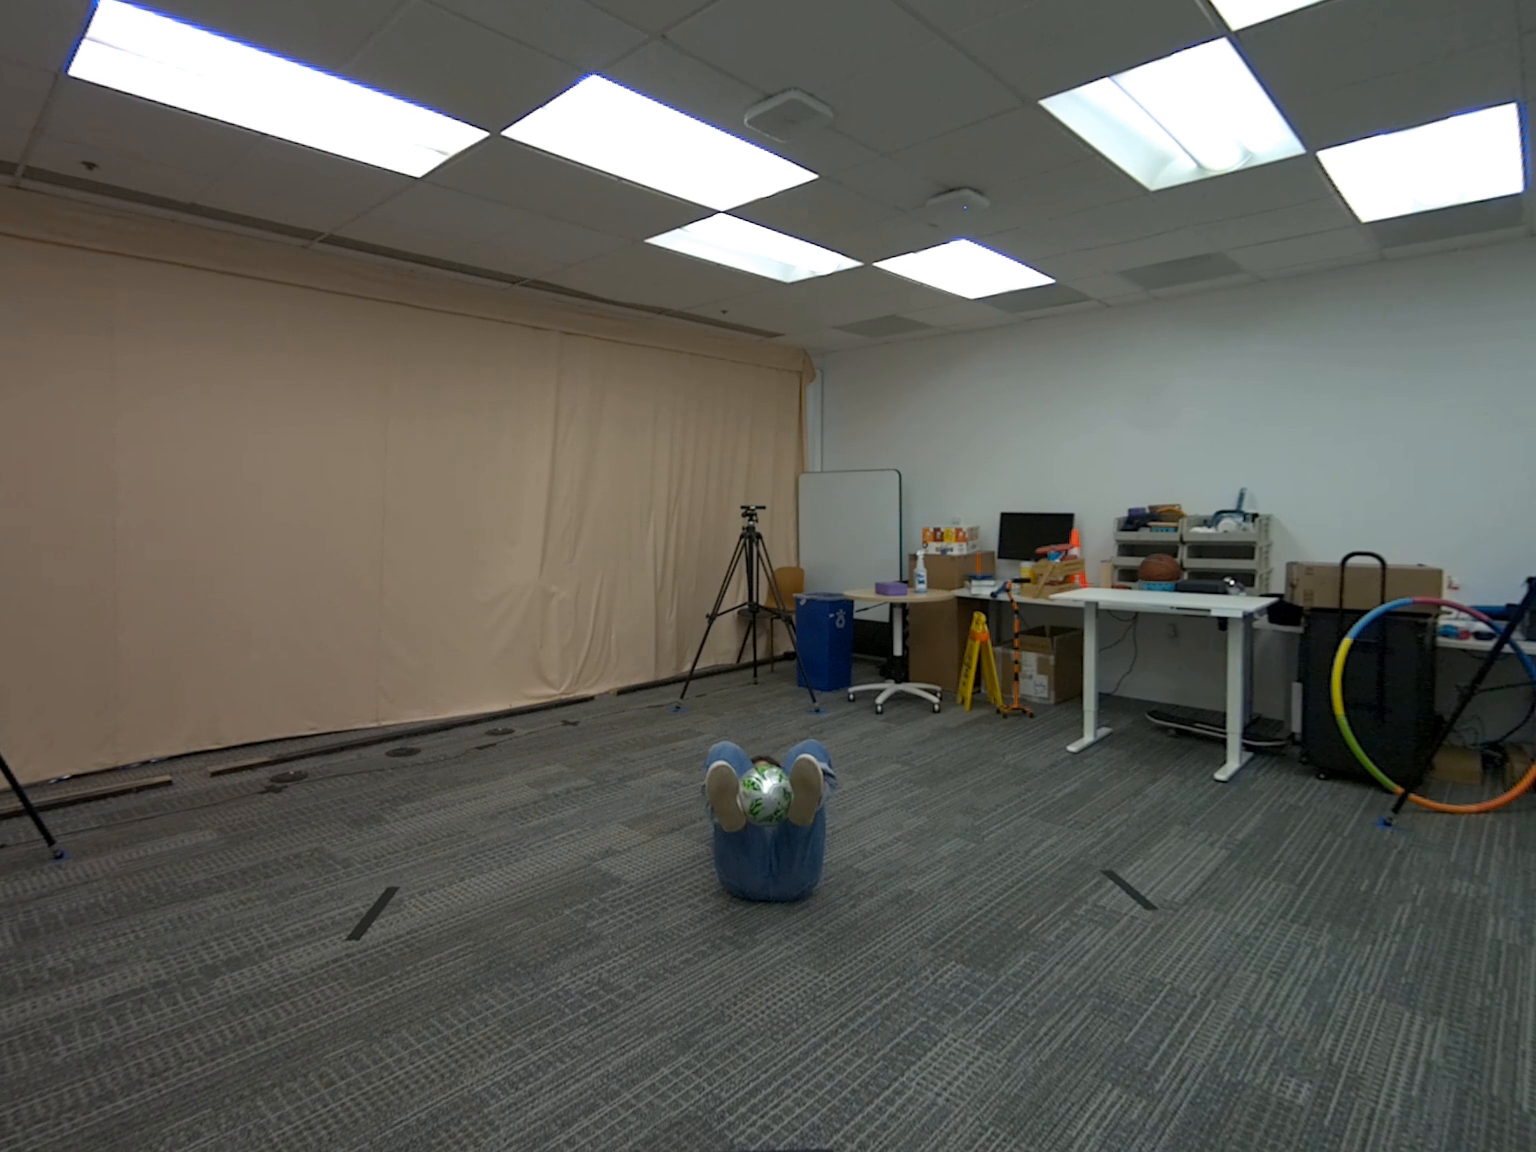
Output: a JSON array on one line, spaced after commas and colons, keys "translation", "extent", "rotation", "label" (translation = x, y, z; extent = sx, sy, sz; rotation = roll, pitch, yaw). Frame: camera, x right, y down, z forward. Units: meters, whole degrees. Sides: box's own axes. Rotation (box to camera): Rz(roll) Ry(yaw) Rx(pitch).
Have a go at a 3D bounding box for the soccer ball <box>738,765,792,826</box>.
[{"translation": [0.002, 0.687, 2.605], "extent": [0.187, 0.187, 0.188], "rotation": [3, 4, -2], "label": "soccer ball"}]
